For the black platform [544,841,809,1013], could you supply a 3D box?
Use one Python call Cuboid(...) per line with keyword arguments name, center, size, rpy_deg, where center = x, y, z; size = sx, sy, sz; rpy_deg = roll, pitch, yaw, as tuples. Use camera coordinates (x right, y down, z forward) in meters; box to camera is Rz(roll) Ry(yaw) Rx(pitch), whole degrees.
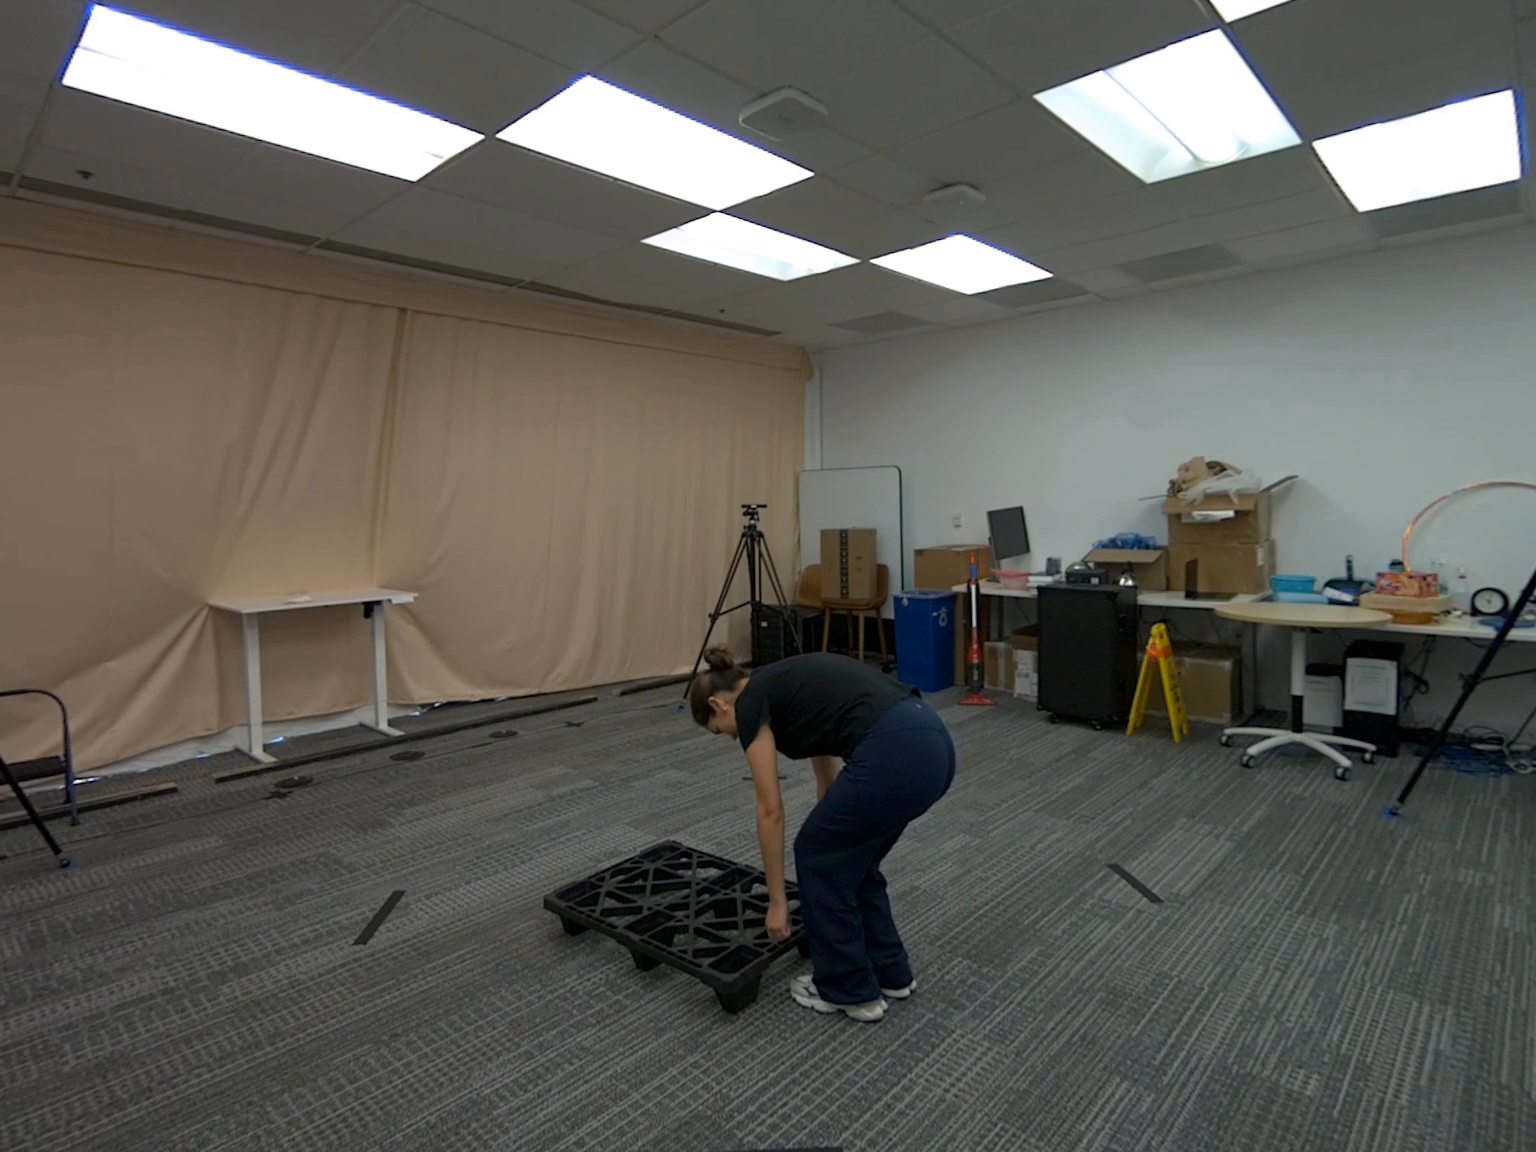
Cuboid(name="black platform", center=(-0.224, 1.104, 2.704), size=(0.832, 0.143, 0.587), rpy_deg=(2, 7, 39))
